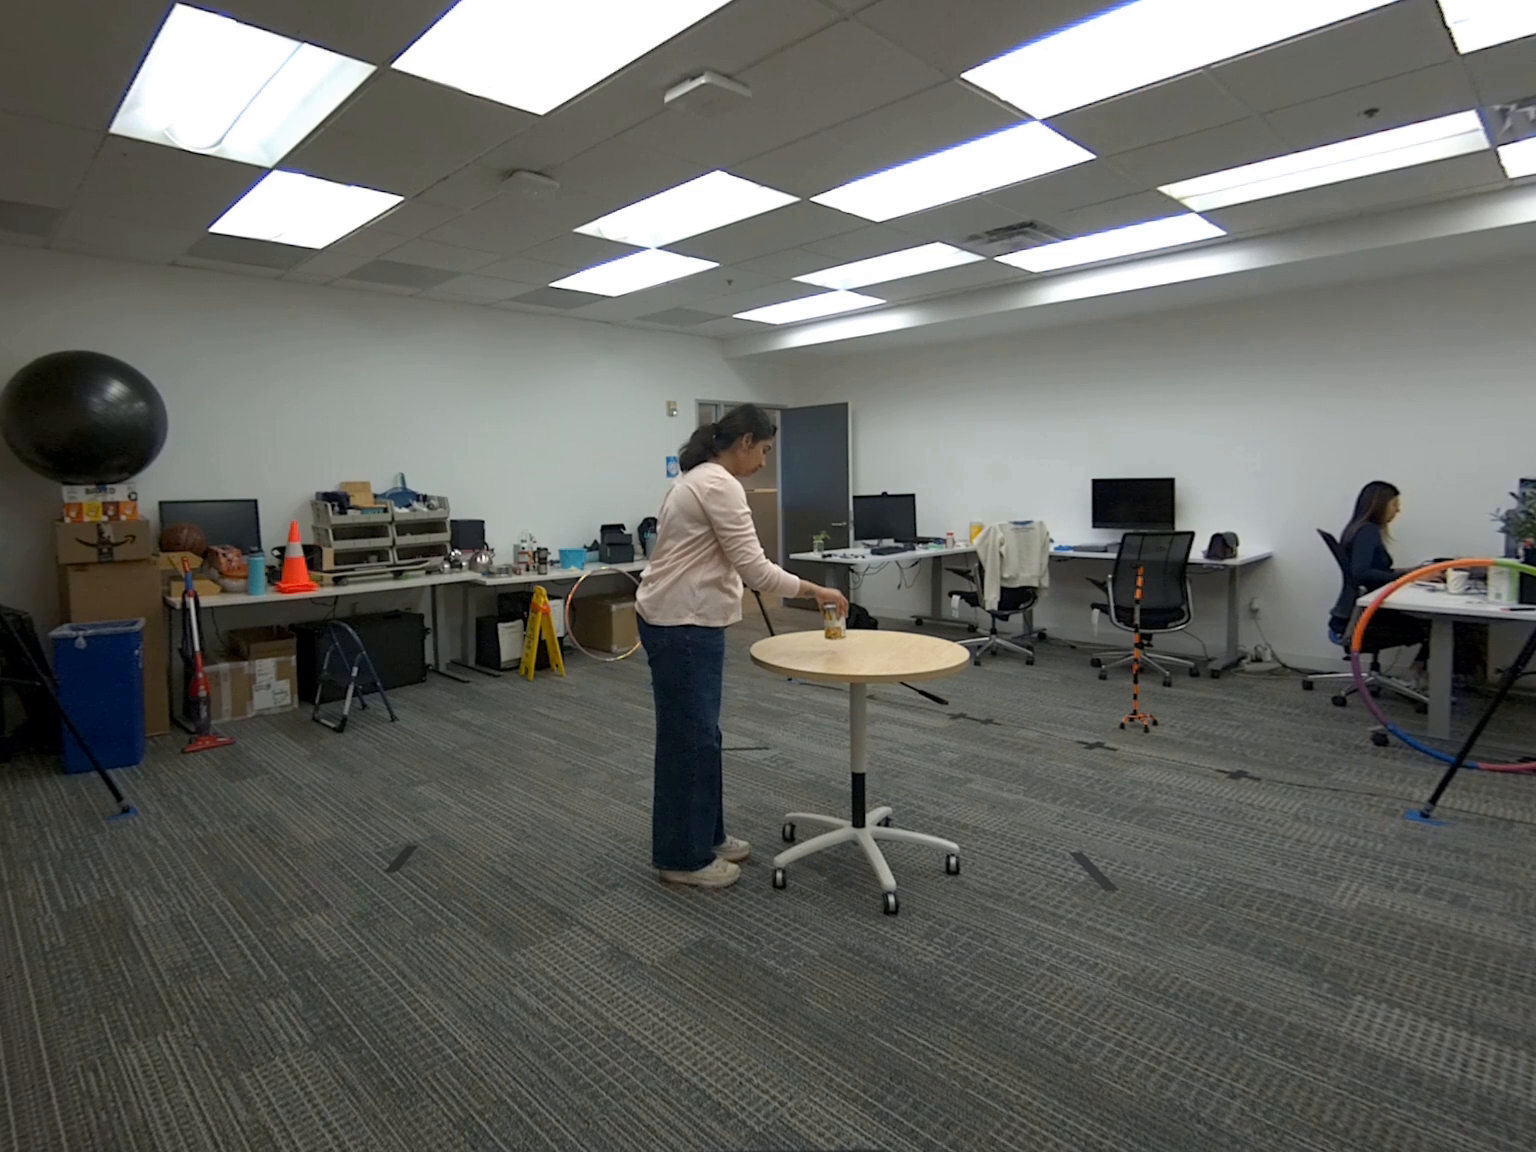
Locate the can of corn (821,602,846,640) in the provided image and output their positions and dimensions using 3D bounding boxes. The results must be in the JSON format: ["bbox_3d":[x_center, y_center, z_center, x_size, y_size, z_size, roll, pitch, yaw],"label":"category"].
[{"bbox_3d":[0.222,0.161,2.984,0.074,0.110,0.075,-7,7,-1],"label":"can of corn"}]
